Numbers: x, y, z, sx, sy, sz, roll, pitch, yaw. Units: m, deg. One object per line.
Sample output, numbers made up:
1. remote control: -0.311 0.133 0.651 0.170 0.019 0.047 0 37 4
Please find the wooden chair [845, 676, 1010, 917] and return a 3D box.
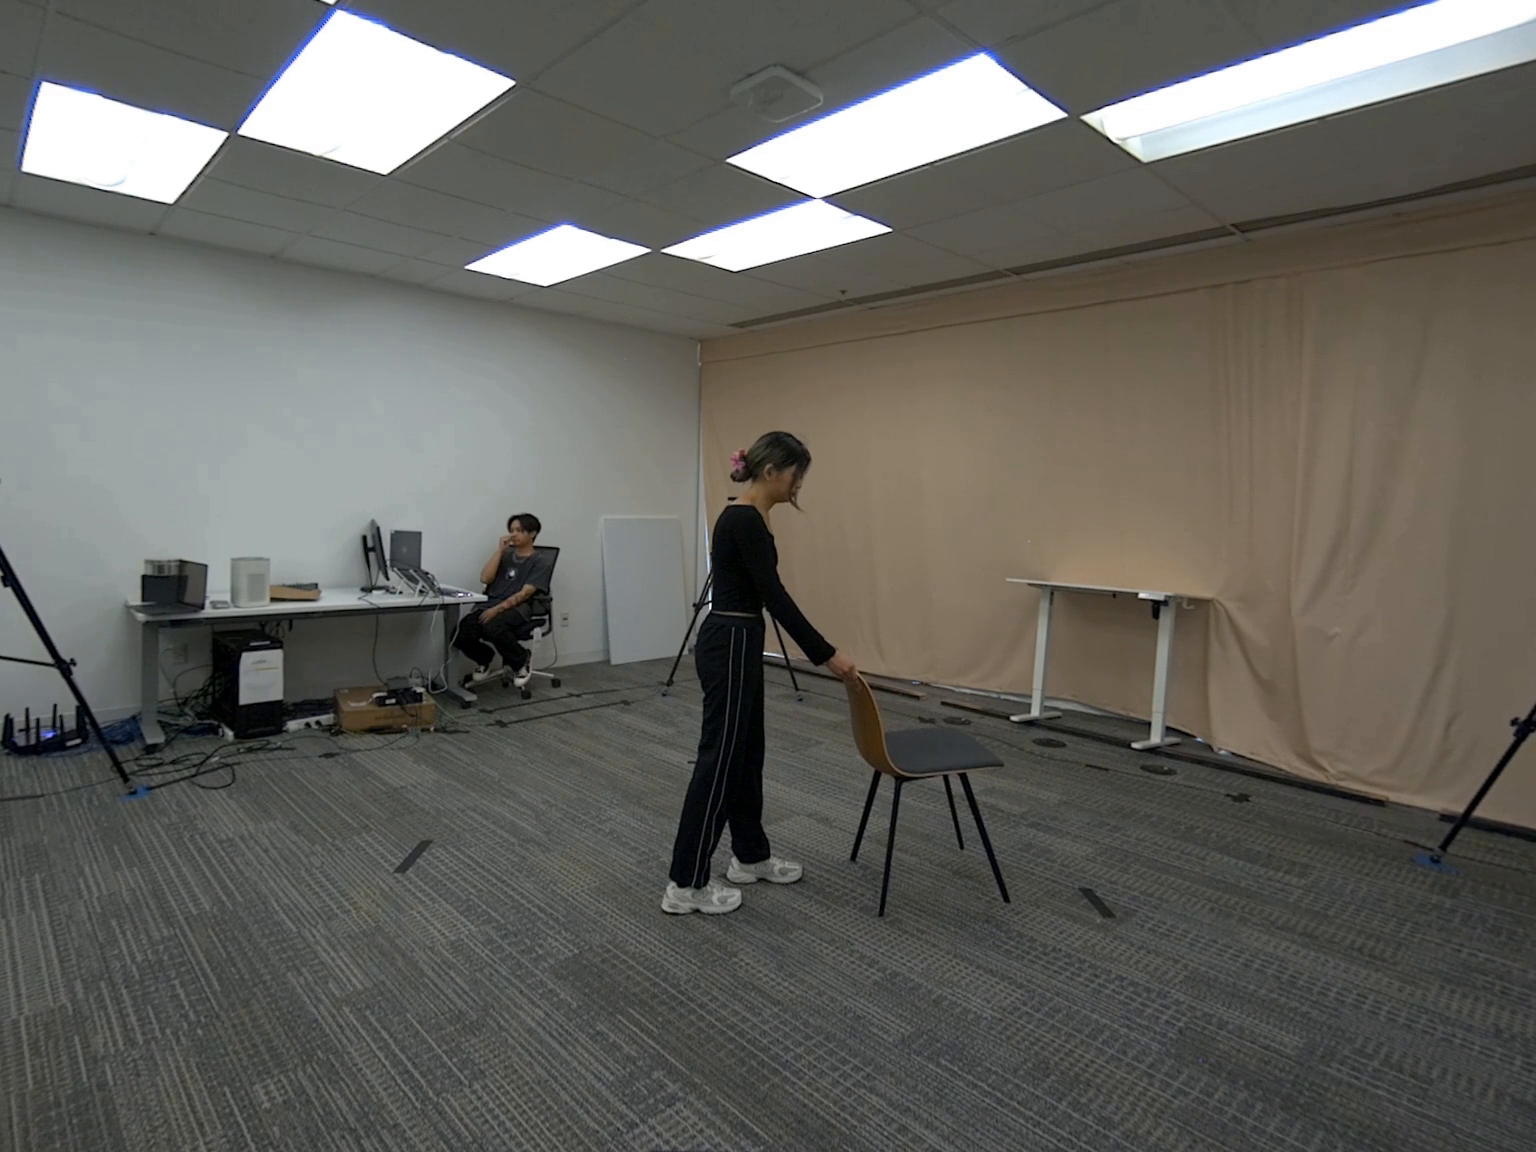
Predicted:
1. wooden chair: 0.547 0.683 3.036 0.521 0.875 0.481 -8 4 -5
